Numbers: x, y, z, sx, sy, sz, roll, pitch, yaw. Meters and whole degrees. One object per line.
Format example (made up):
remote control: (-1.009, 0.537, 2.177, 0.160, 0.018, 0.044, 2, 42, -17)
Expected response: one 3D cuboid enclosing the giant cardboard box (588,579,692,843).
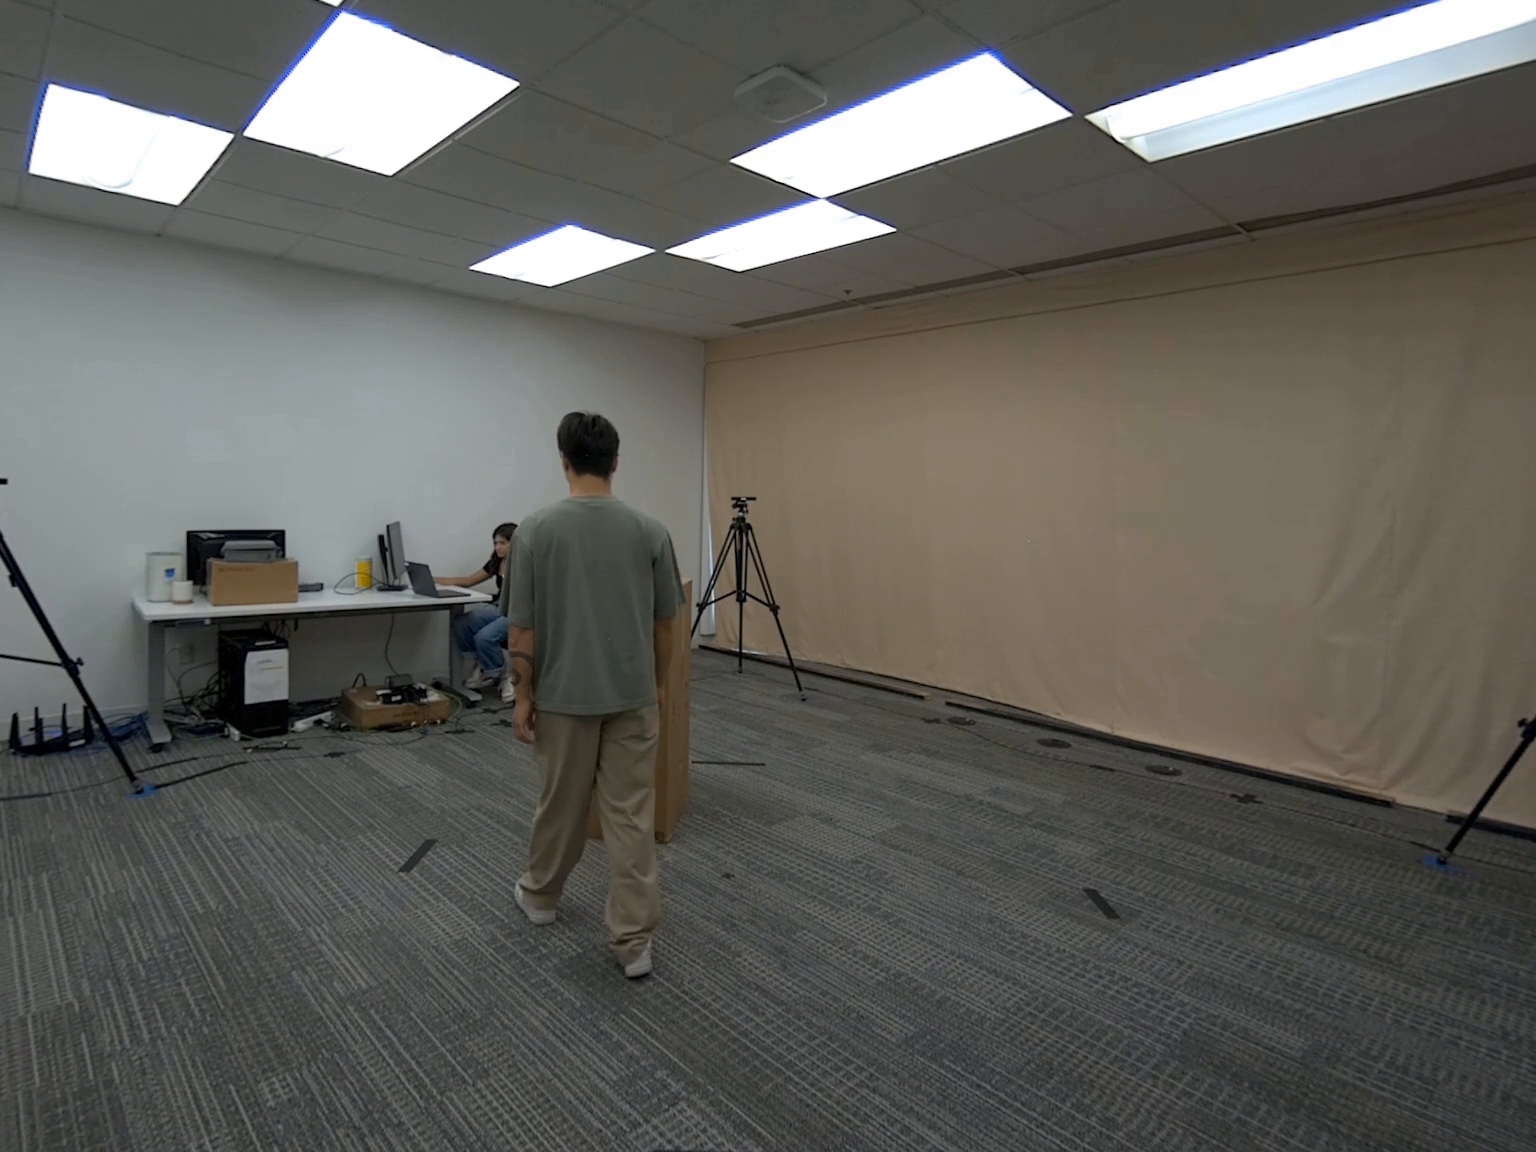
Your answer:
giant cardboard box: (-0.596, 0.540, 3.664, 0.428, 1.023, 0.576, 2, 4, 5)
